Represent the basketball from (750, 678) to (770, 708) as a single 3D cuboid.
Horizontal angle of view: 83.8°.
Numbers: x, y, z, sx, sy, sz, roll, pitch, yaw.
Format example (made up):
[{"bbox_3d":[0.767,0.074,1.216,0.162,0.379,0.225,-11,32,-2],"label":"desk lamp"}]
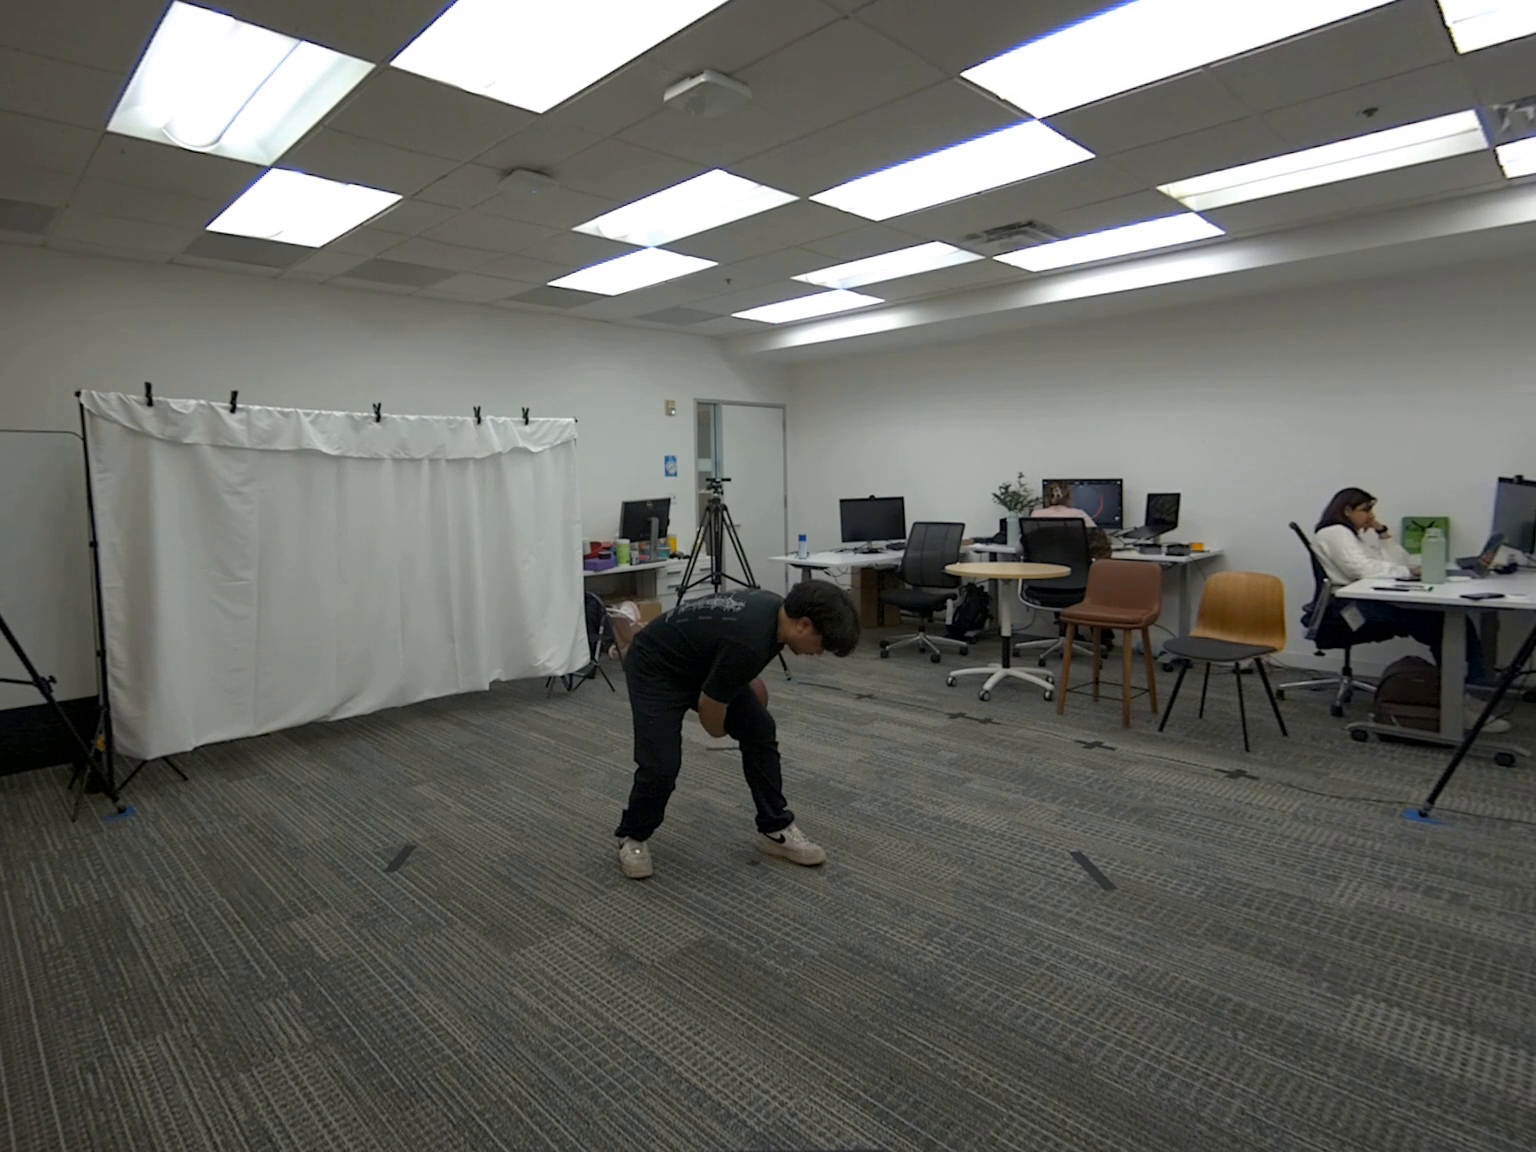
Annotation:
[{"bbox_3d":[-0.115,0.503,3.444,0.236,0.235,0.237,-1,5,-2],"label":"basketball"}]
